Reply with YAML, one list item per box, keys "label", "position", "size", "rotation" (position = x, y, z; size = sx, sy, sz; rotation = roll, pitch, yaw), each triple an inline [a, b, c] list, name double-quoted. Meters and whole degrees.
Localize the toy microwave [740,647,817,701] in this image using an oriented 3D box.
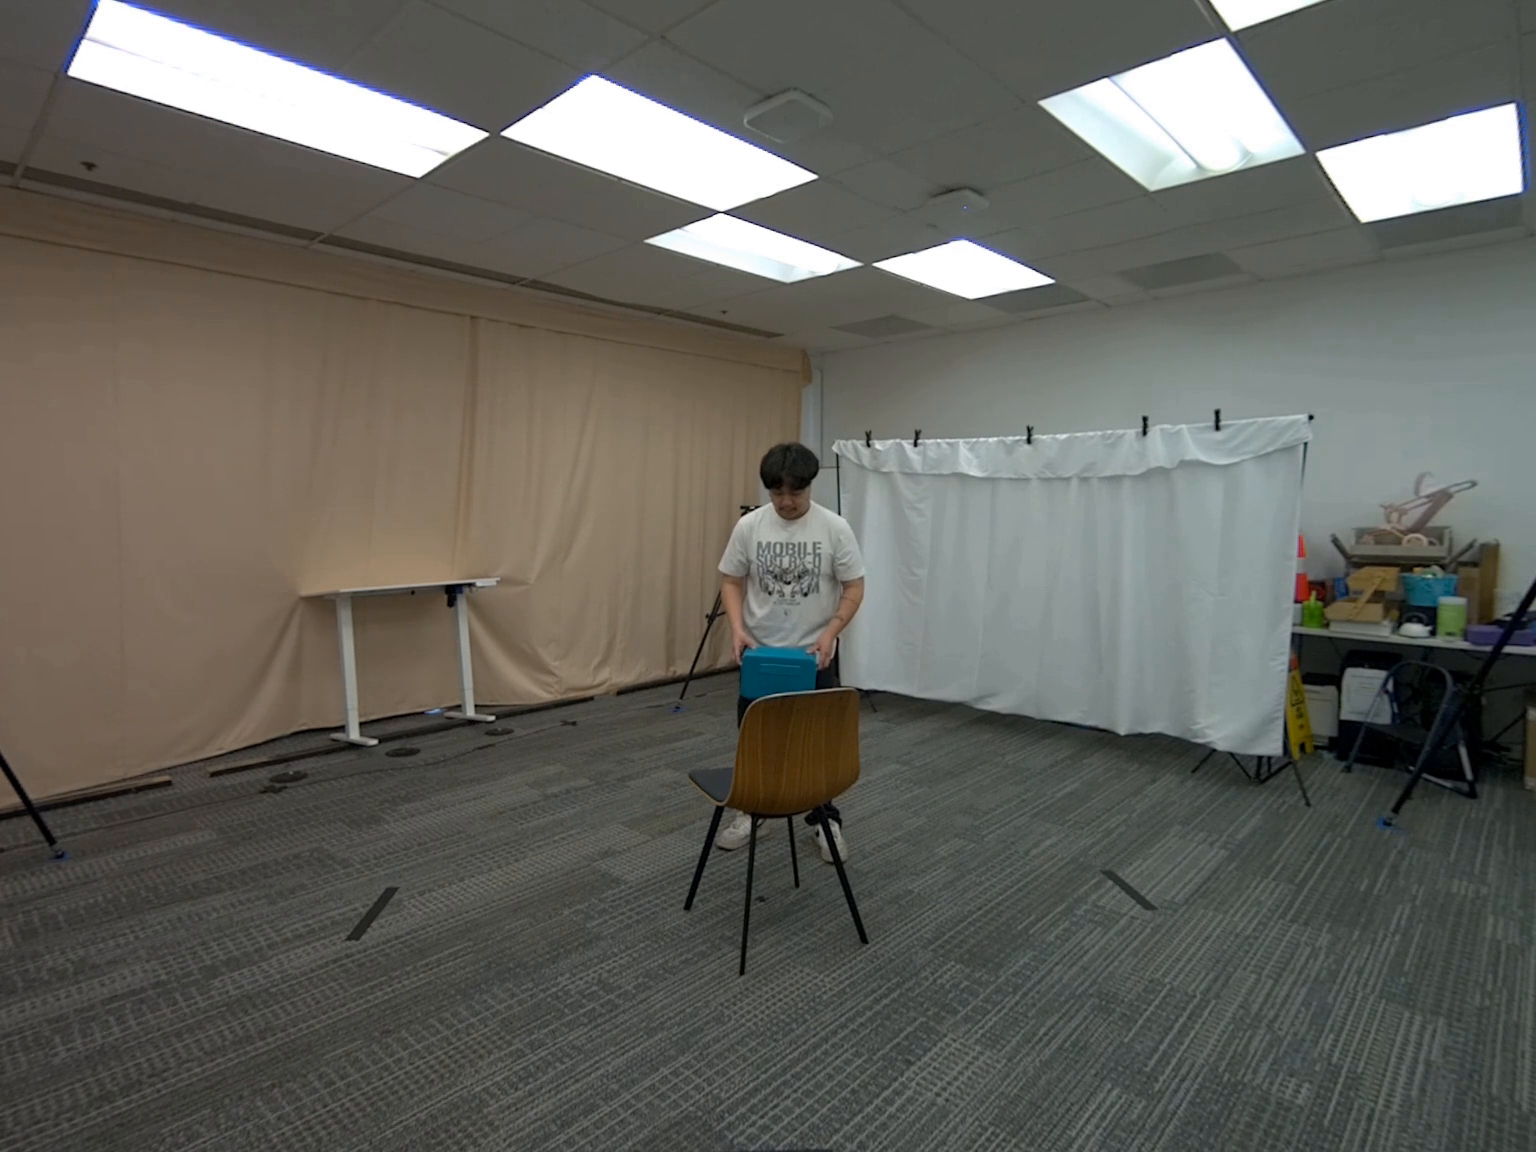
- label: "toy microwave"
  position: [0.048, 0.378, 3.243]
  size: [0.288, 0.183, 0.152]
  rotation: [4, 10, 5]
